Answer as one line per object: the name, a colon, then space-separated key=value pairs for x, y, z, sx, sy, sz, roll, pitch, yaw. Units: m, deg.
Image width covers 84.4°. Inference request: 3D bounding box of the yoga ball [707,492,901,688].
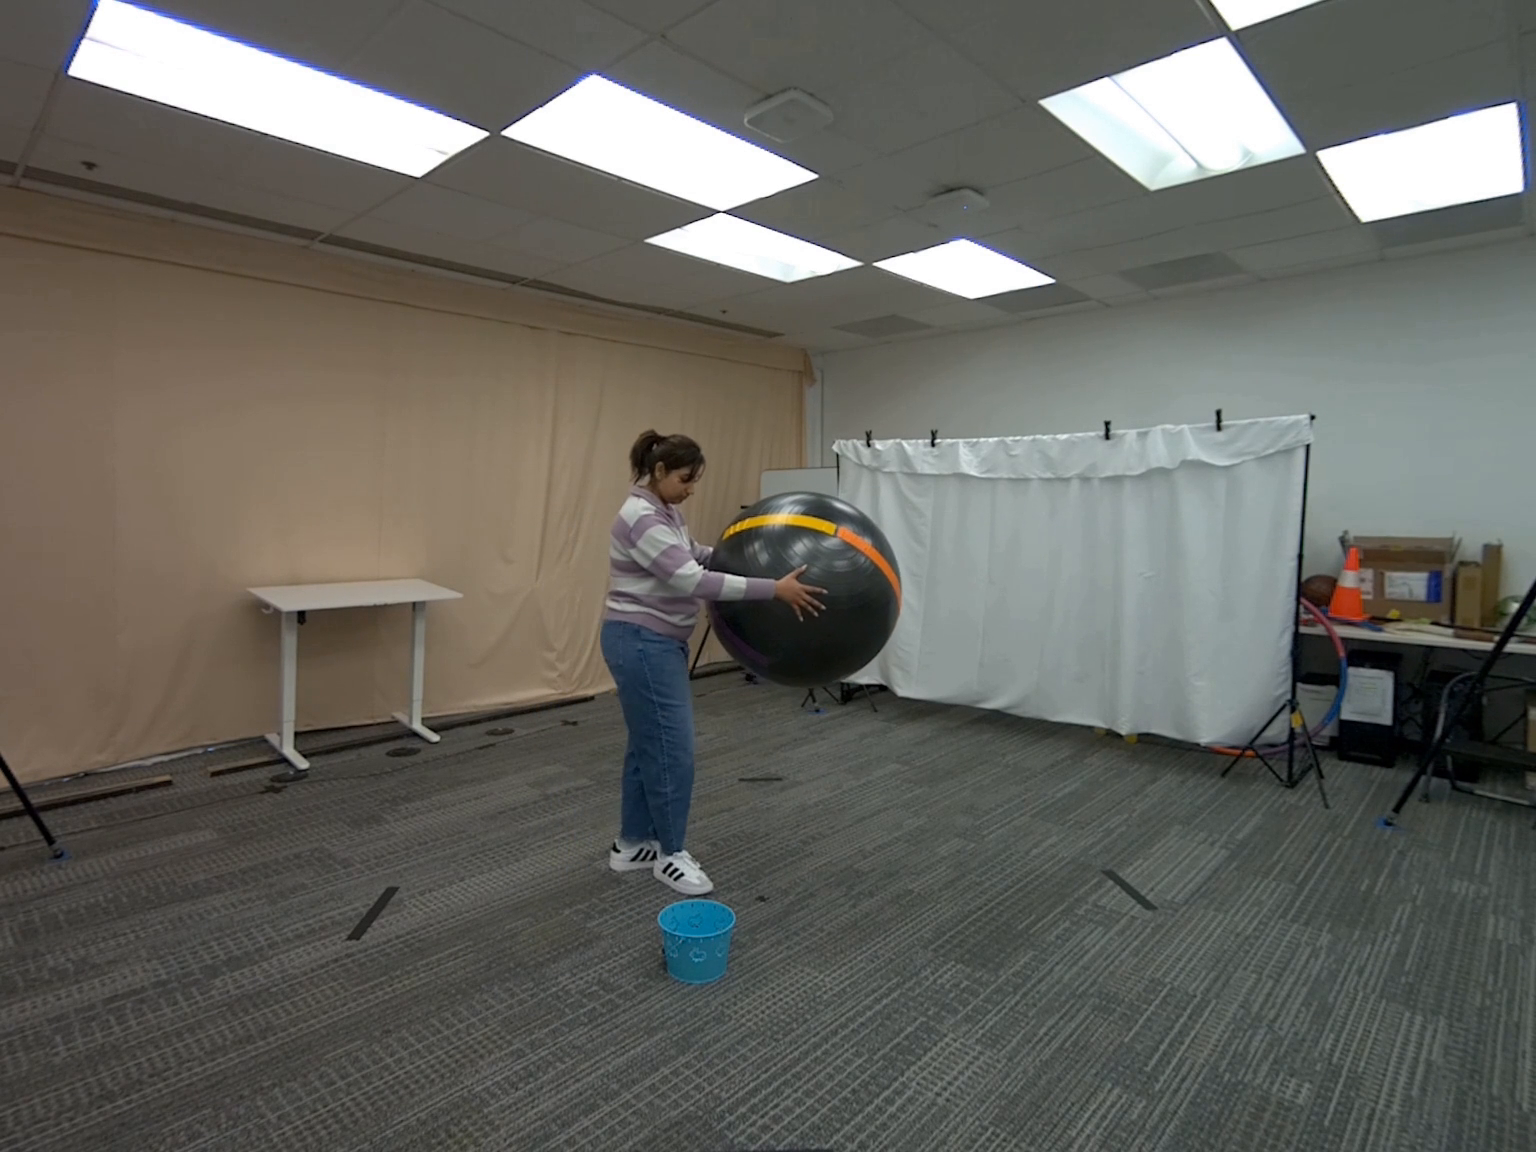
yoga ball: x=0.136 y=0.057 z=3.278 sx=0.757 sy=0.756 sz=0.761 roll=0 pitch=4 yaw=-2
